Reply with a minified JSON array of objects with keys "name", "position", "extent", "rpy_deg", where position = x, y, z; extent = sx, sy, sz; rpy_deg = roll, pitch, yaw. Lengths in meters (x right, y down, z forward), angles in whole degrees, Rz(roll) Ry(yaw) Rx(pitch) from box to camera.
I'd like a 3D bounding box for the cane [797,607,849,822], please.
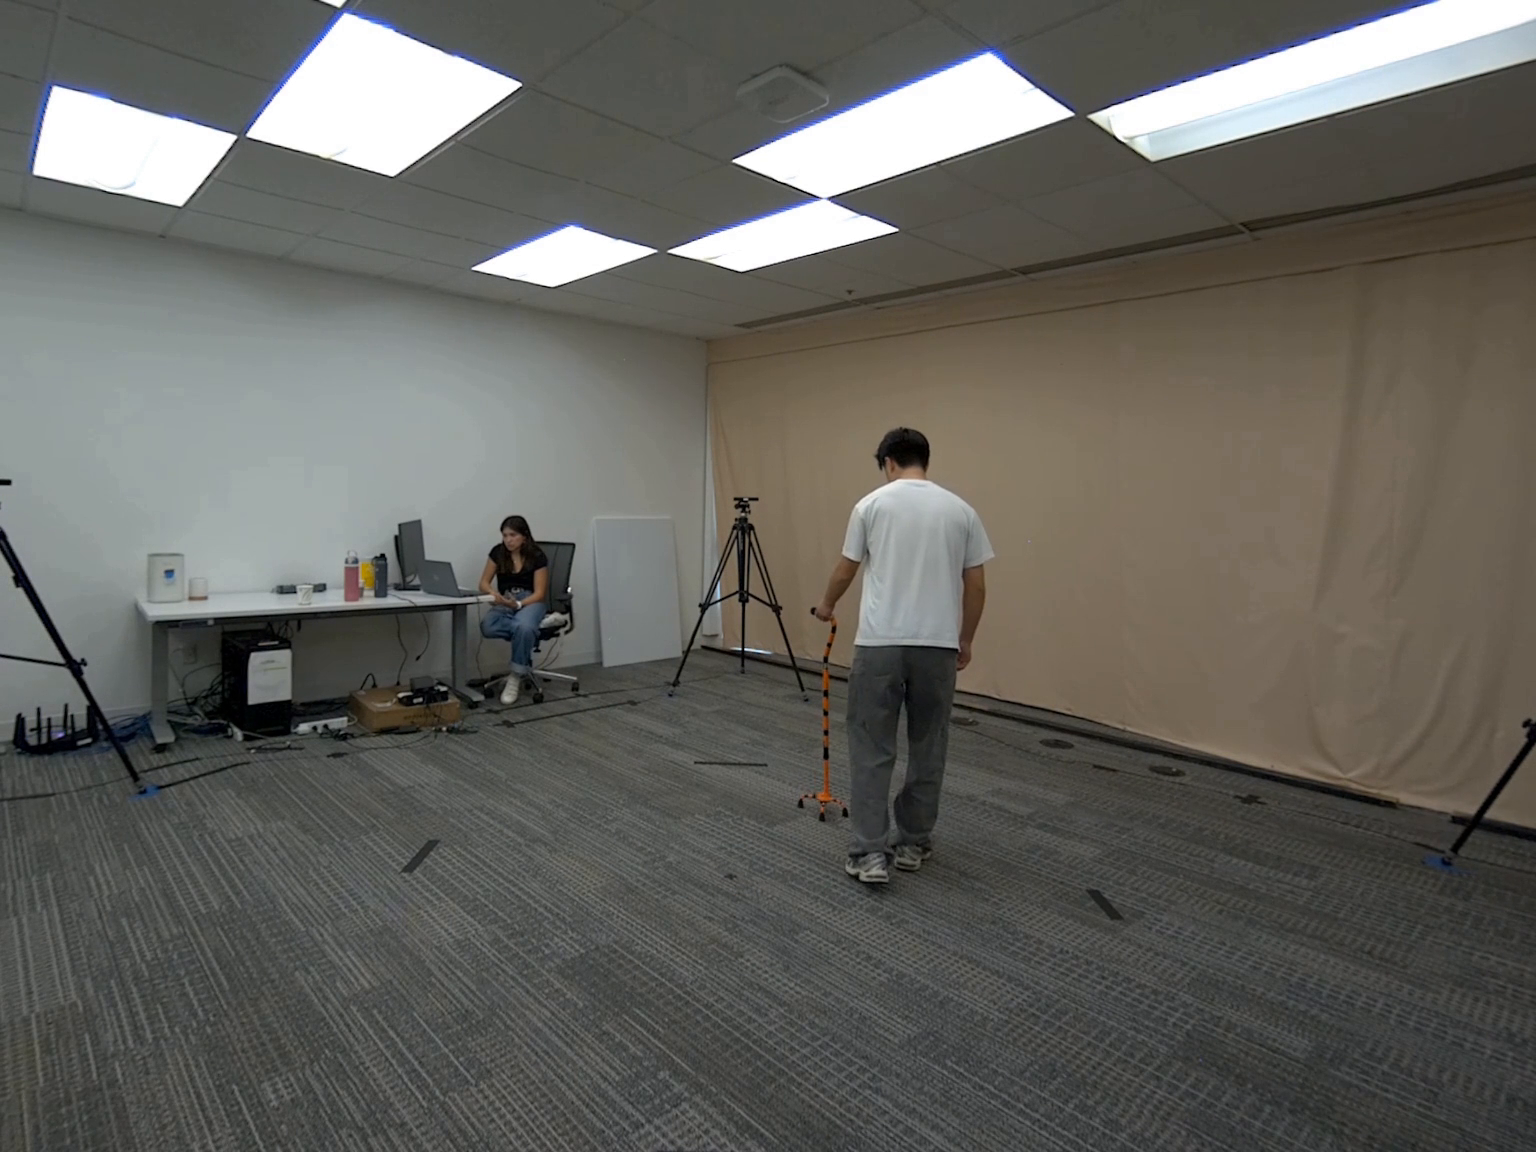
[{"name":"cane","position":[0.234,0.613,3.750],"extent":[0.149,0.905,0.211],"rpy_deg":[-2,5,-29]}]
